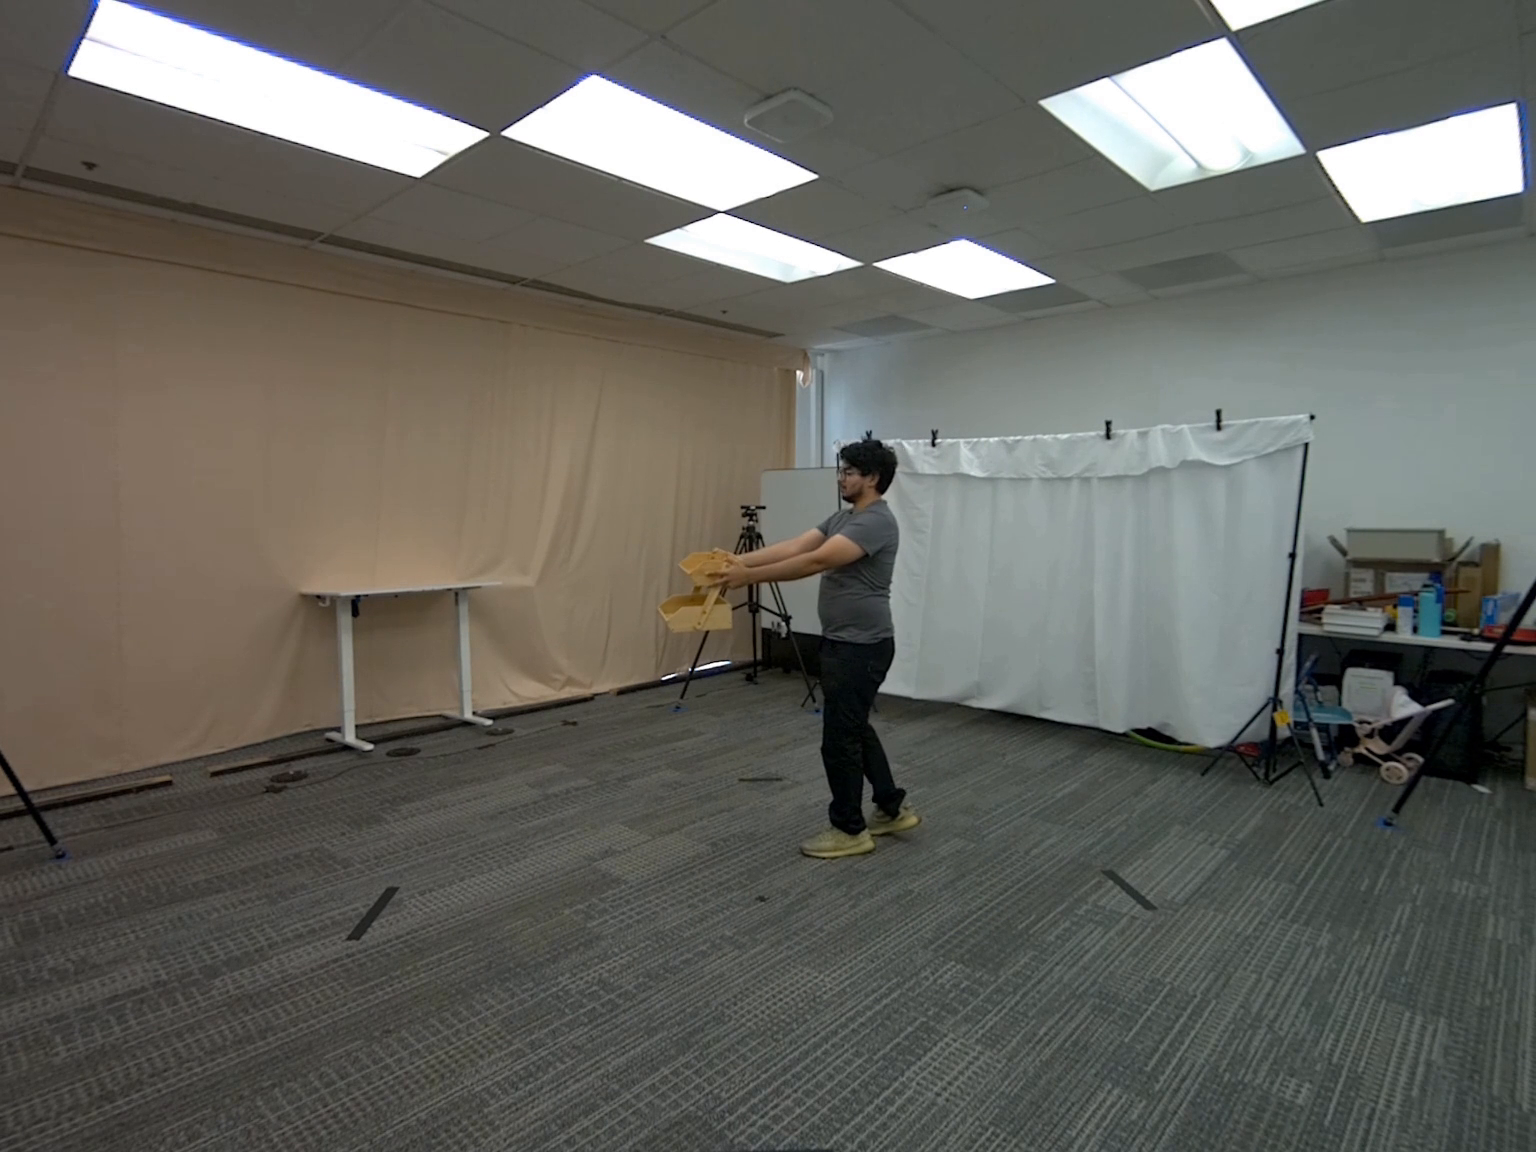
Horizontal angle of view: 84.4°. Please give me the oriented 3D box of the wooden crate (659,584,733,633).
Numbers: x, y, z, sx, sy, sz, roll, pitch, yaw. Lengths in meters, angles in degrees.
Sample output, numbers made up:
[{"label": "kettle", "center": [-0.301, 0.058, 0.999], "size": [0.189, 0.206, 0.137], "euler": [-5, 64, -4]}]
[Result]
[{"label": "wooden crate", "center": [-0.268, 0.054, 3.301], "size": [0.299, 0.272, 0.329], "euler": [-2, 7, -11]}]
